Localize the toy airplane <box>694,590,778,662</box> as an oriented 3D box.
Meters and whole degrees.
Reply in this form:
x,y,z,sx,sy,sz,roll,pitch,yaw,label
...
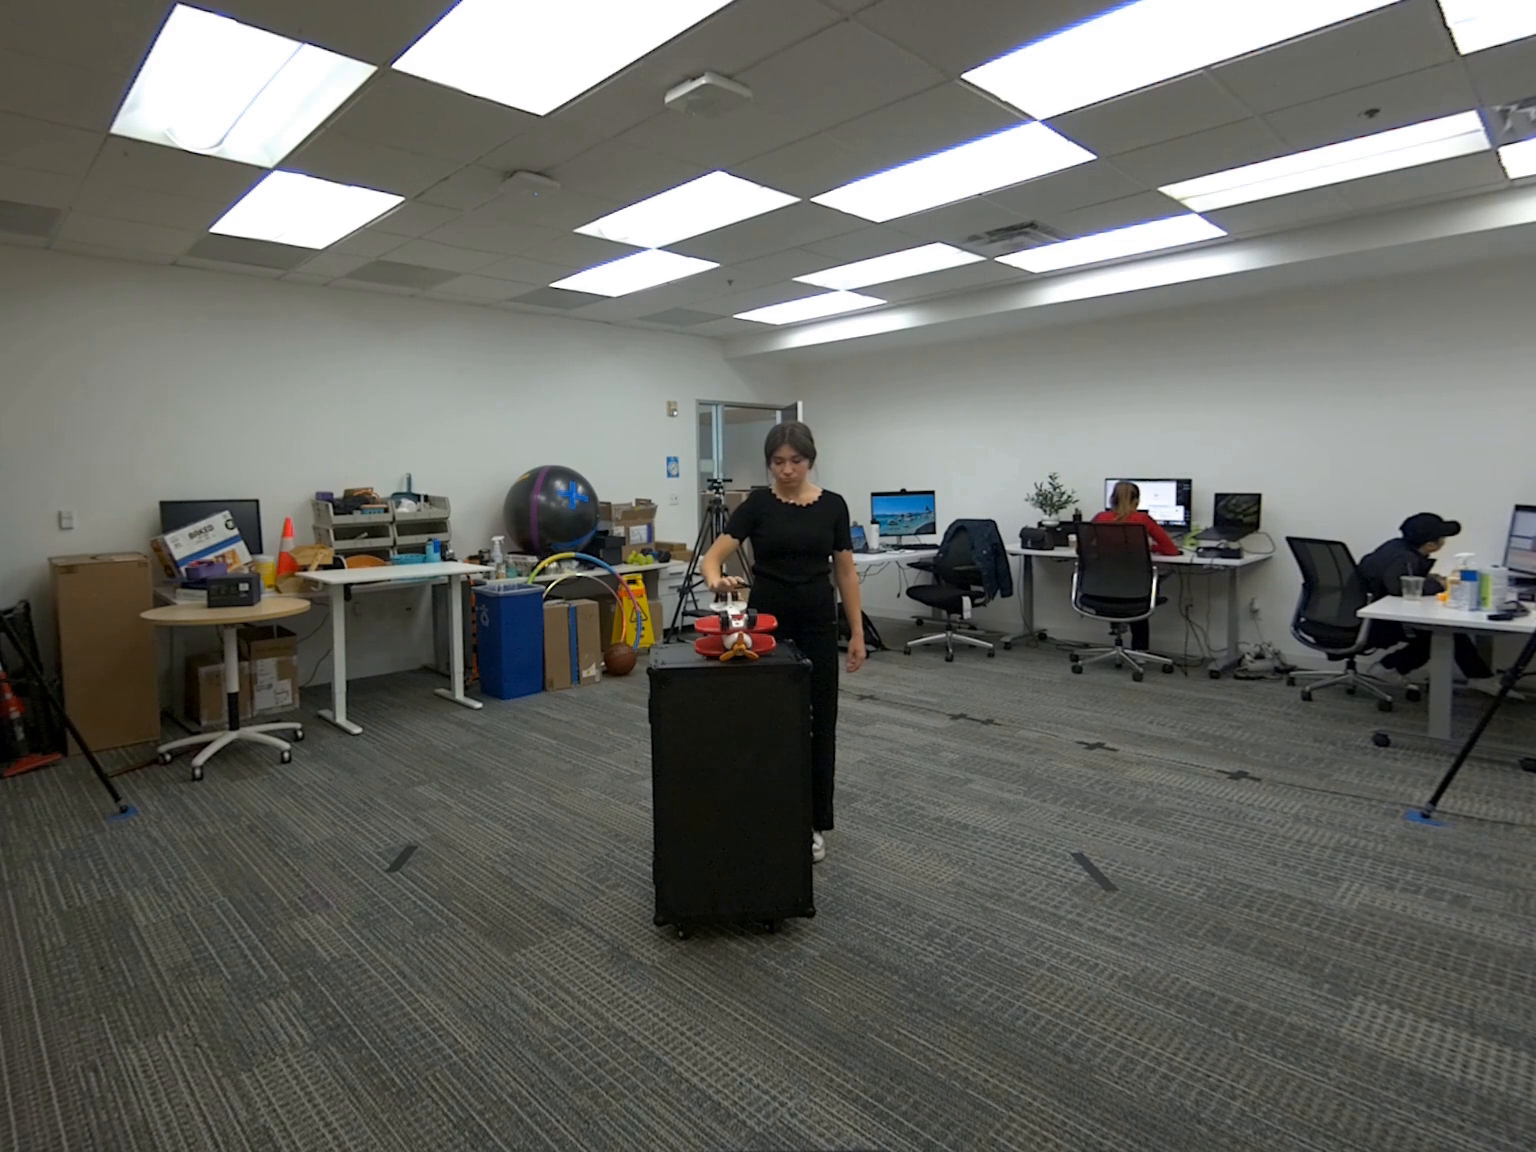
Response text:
x,y,z,sx,sy,sz,roll,pitch,yaw,label
-0.081,0.155,2.657,0.256,0.154,0.258,6,17,17,toy airplane
